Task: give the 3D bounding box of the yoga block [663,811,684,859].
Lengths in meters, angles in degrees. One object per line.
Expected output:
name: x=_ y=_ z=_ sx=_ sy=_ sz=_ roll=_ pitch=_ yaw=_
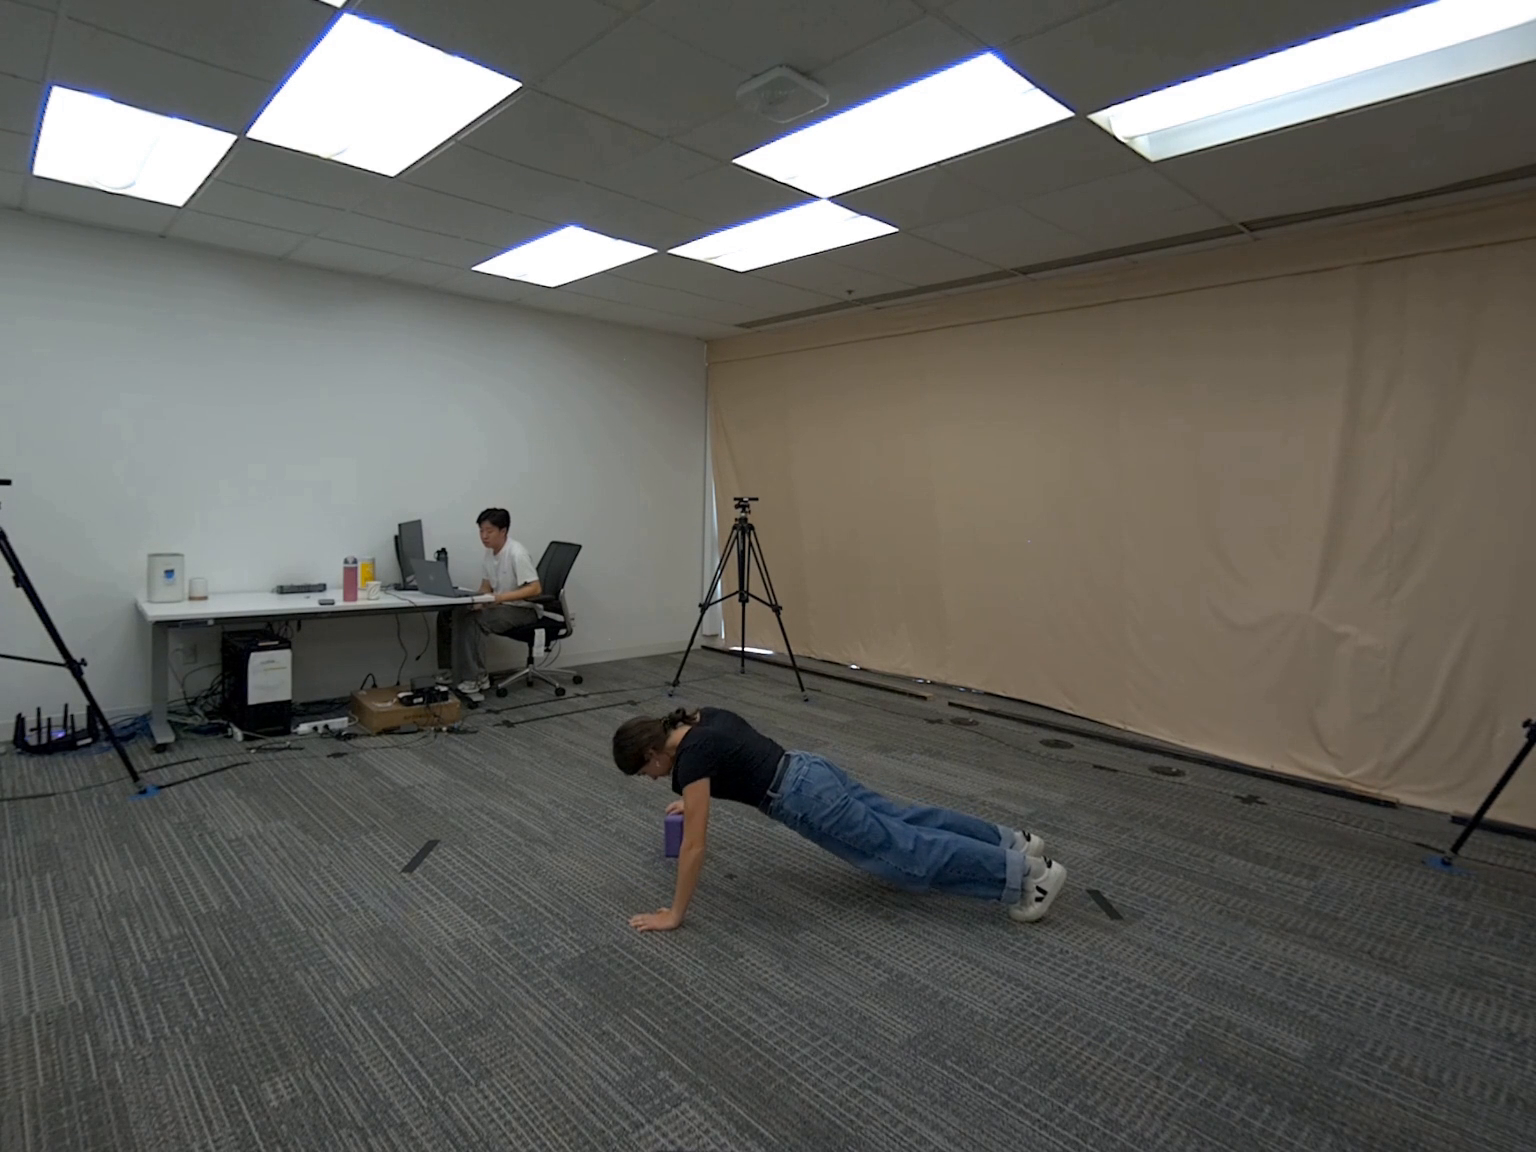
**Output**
yoga block: x=-0.358 y=1.007 z=3.358 sx=0.077 sy=0.148 sz=0.229 roll=2 pitch=7 yaw=6
